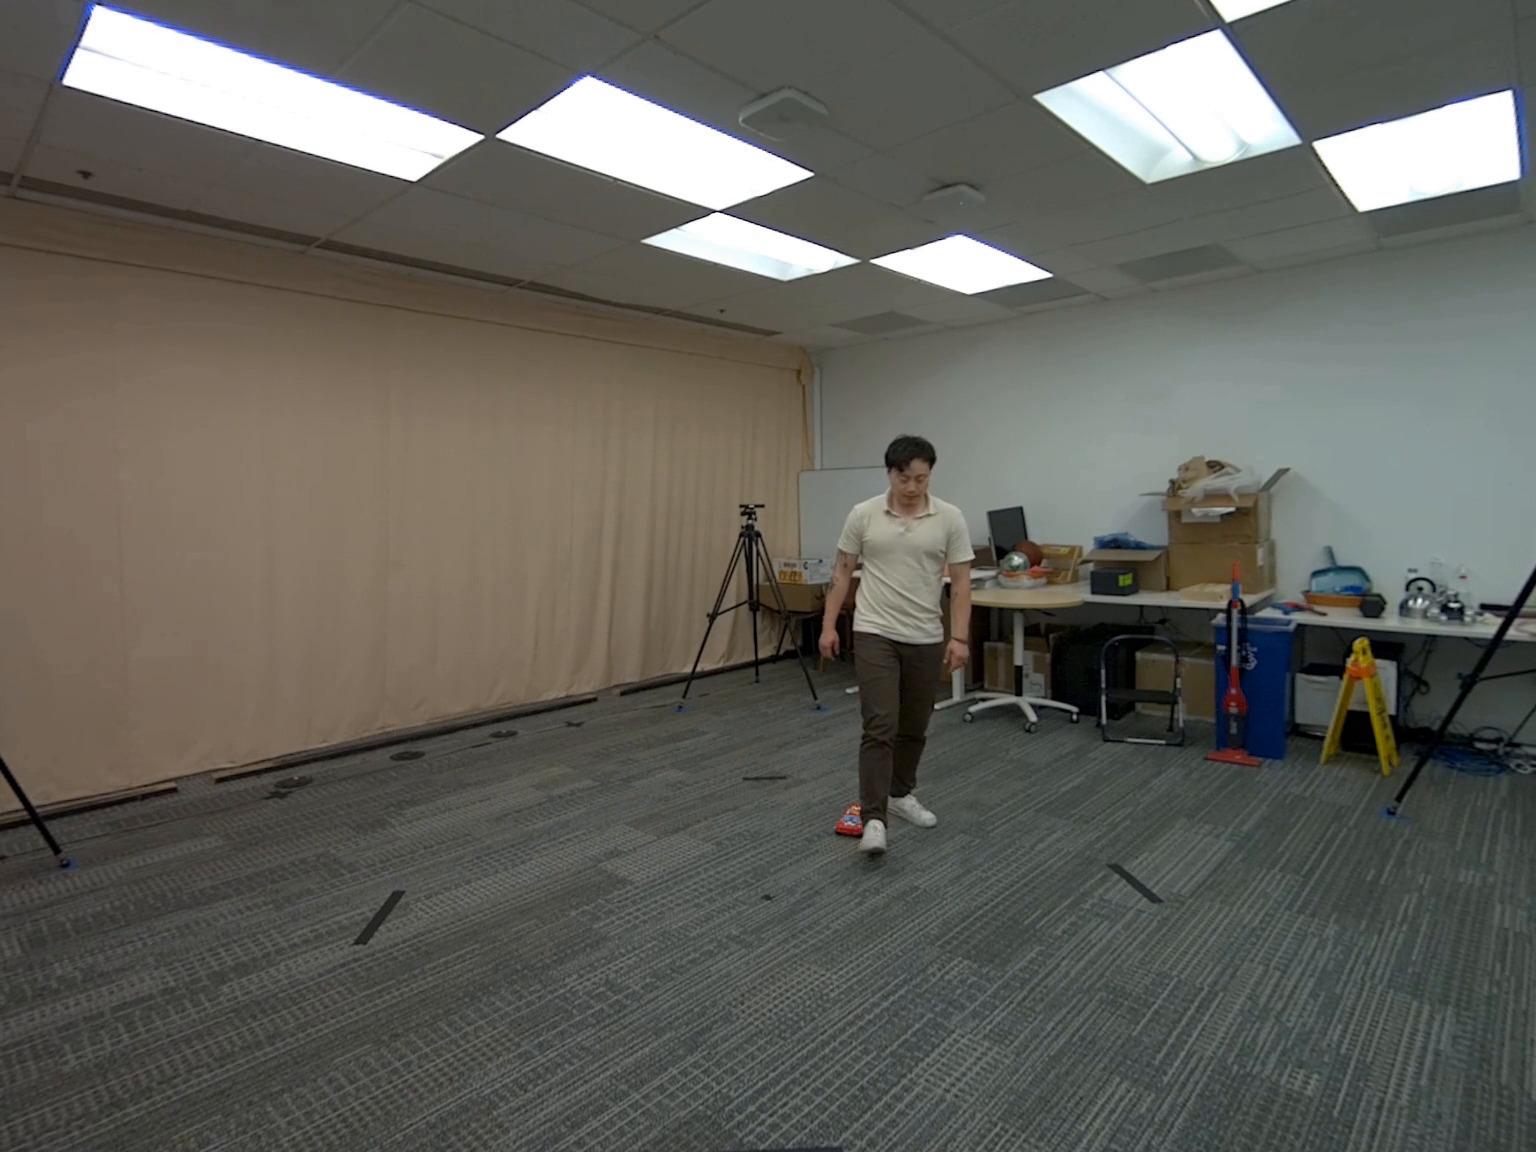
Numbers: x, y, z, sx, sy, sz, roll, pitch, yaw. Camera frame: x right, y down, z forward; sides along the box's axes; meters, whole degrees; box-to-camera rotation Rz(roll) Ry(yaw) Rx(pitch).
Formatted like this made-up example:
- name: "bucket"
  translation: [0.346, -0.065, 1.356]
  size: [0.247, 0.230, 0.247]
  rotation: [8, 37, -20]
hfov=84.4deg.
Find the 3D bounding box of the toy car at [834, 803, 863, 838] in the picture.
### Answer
- name: "toy car"
  translation: [0.375, 1.047, 3.610]
  size: [0.133, 0.082, 0.252]
  rotation: [0, 15, 19]
